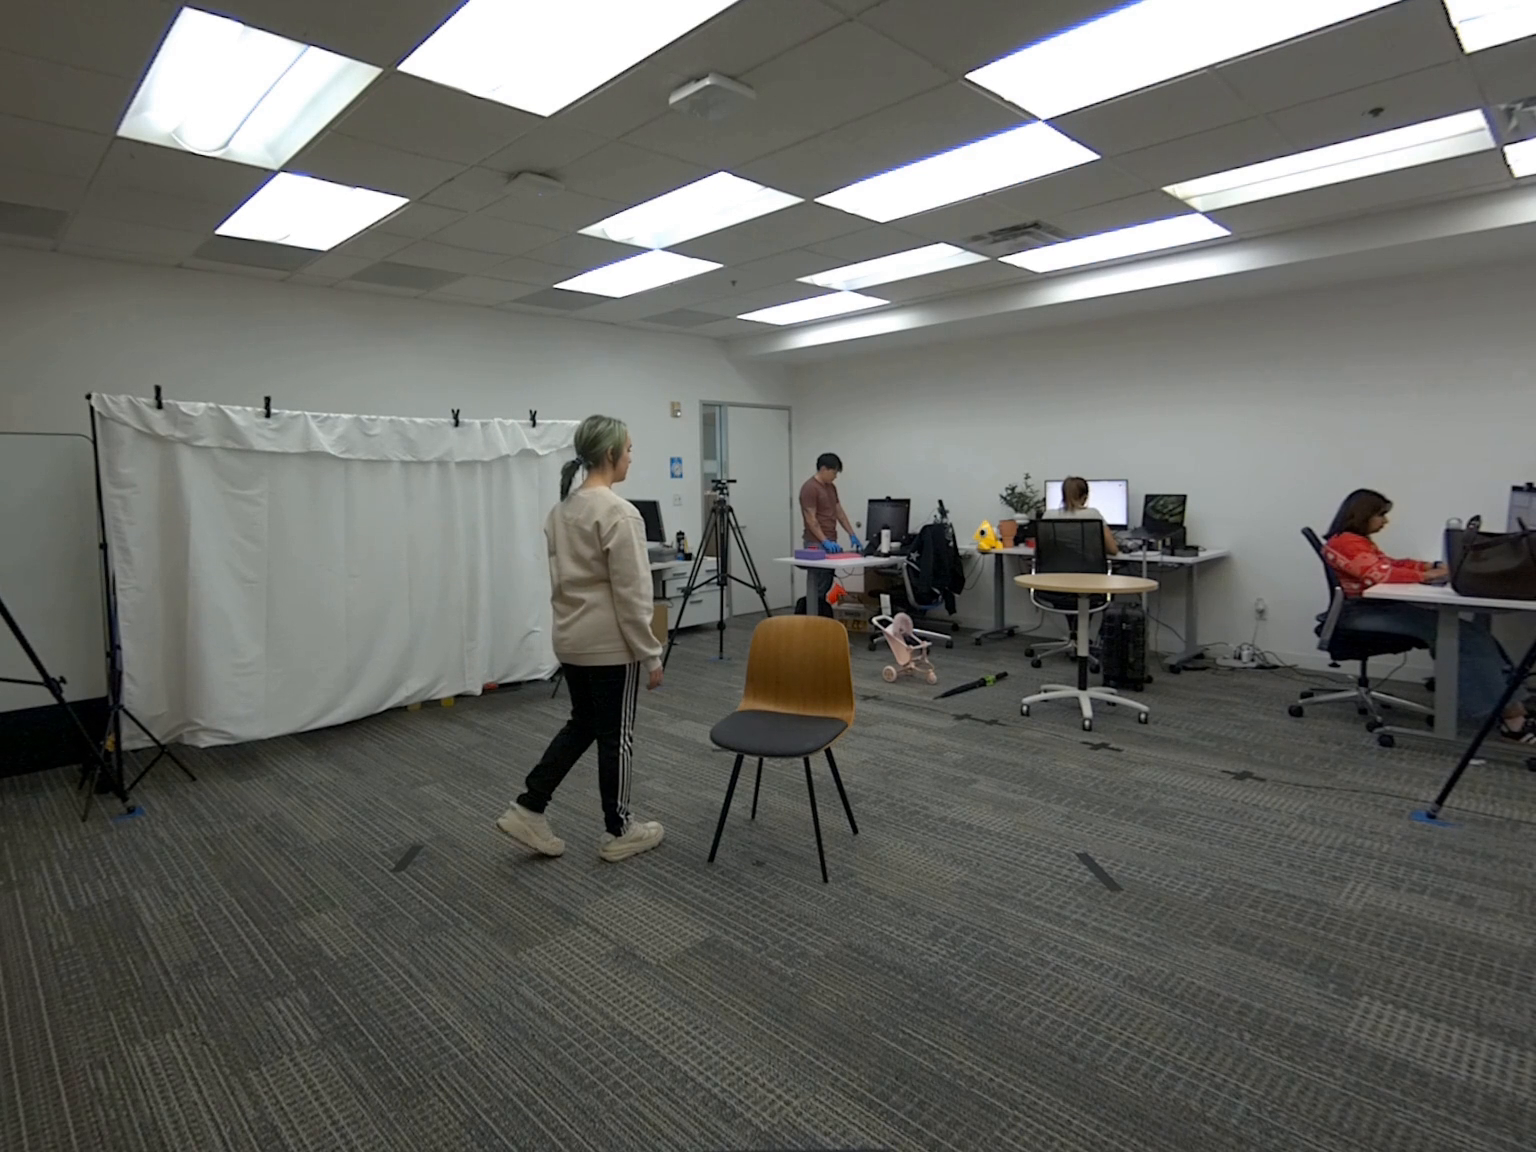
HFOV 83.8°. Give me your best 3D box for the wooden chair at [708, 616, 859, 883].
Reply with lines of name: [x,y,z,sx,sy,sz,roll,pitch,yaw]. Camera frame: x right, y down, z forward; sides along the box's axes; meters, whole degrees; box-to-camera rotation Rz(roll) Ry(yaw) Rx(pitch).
wooden chair: [0.059,0.602,3.194,0.488,0.877,0.512,1,0,22]
